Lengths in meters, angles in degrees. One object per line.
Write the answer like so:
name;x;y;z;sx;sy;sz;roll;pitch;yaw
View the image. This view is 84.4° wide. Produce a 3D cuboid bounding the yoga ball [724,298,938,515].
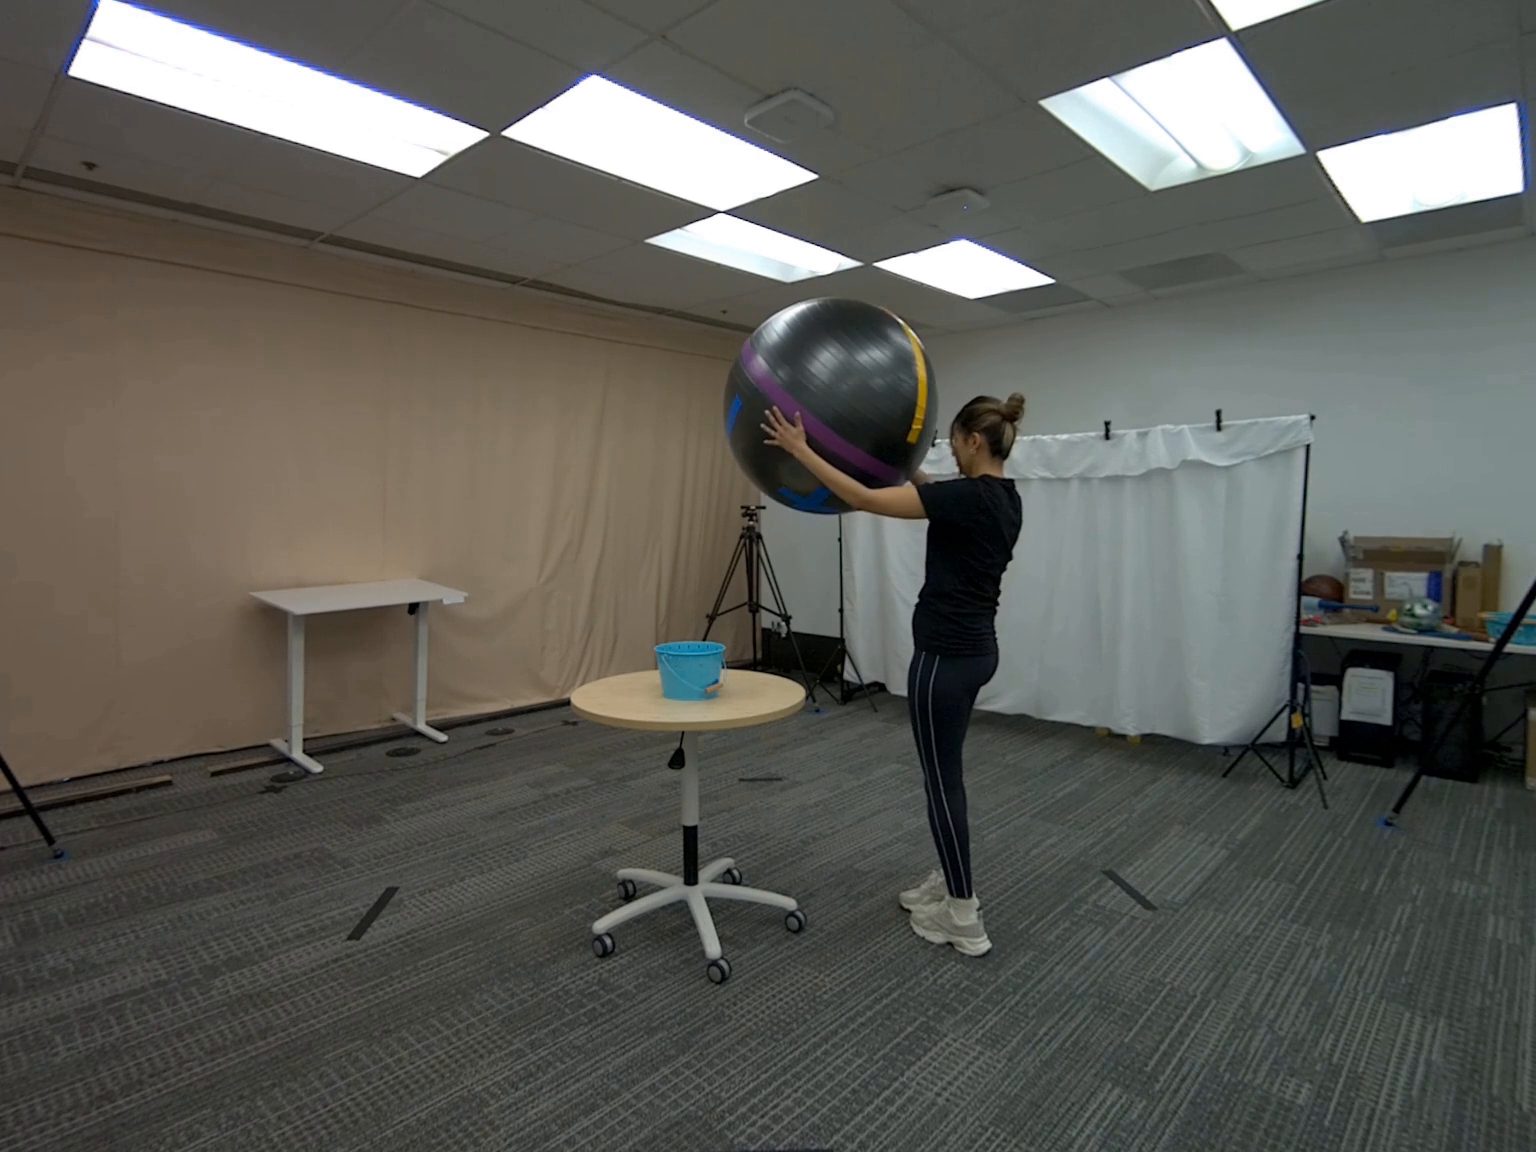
yoga ball;0.227;-0.589;2.995;0.757;0.756;0.761;0;4;-2
